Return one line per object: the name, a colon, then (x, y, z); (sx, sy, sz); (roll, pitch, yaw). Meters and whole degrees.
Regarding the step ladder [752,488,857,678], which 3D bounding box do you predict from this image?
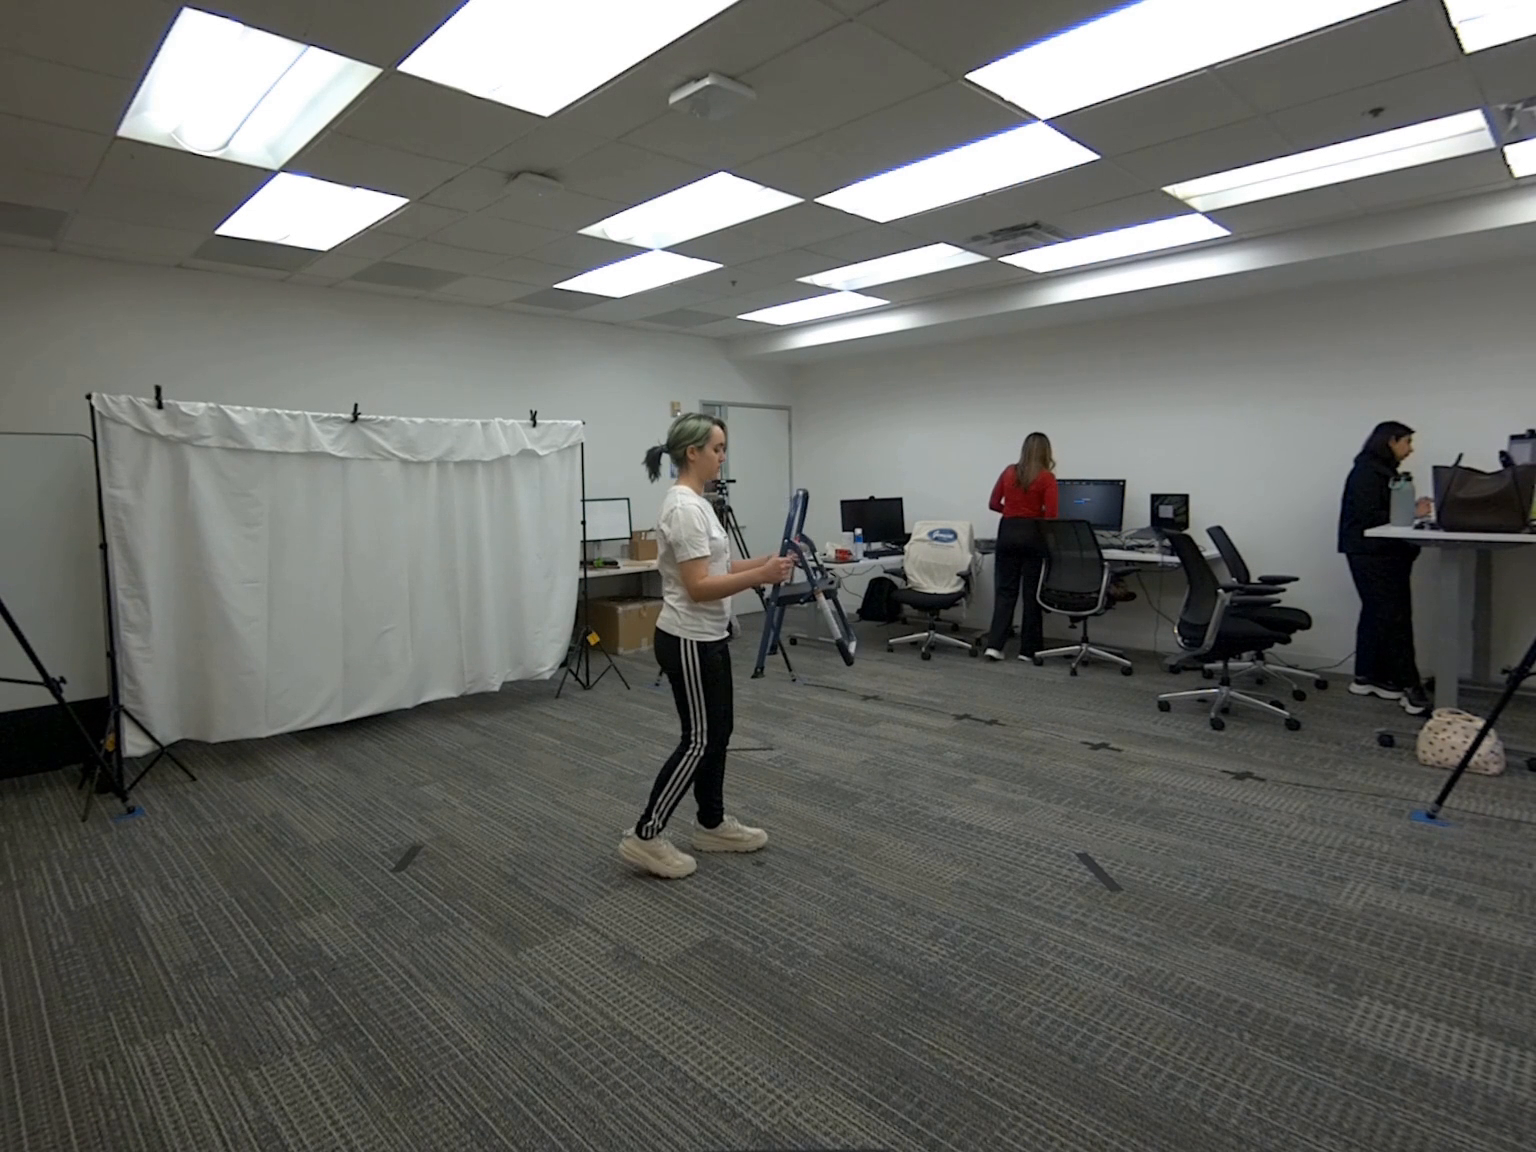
step ladder: (0.090, 0.003, 3.049); (0.352, 0.605, 0.428); (-7, 3, 10)
